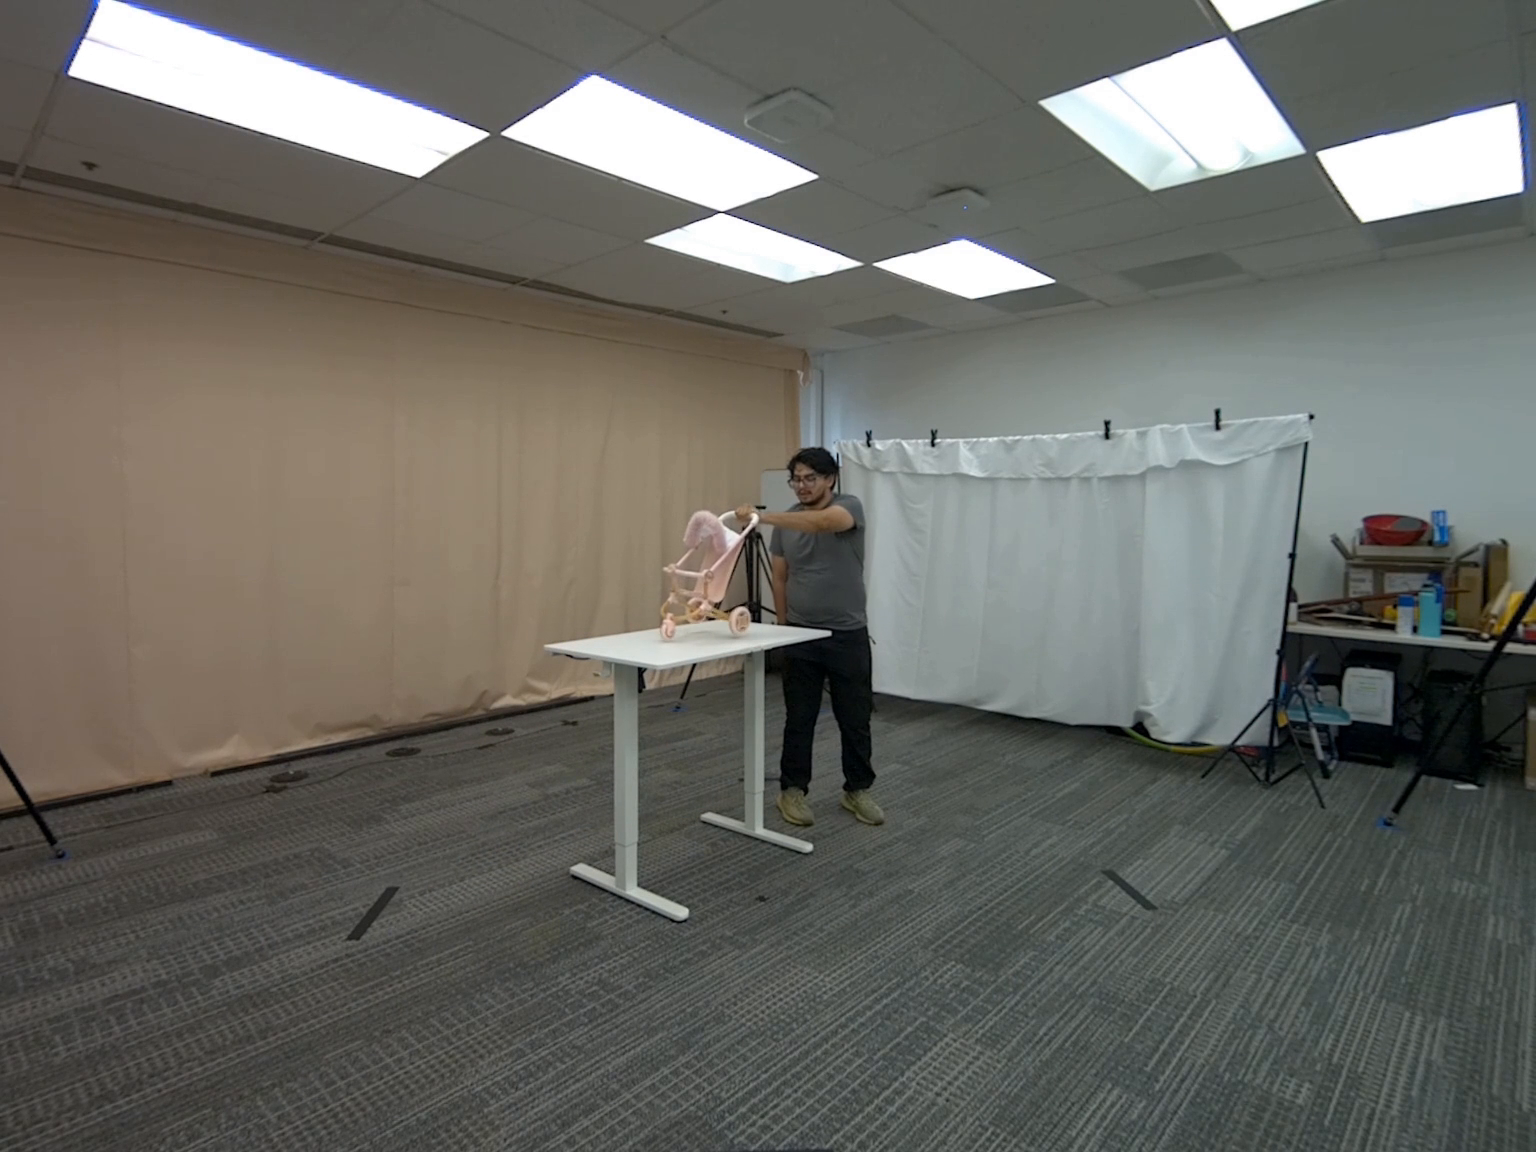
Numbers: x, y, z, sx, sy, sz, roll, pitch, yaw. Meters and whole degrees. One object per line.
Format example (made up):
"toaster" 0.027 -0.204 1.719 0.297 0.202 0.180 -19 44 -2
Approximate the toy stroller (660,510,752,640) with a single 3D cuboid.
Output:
"toy stroller" -0.243 -0.013 3.252 0.329 0.535 0.291 11 -1 -42
